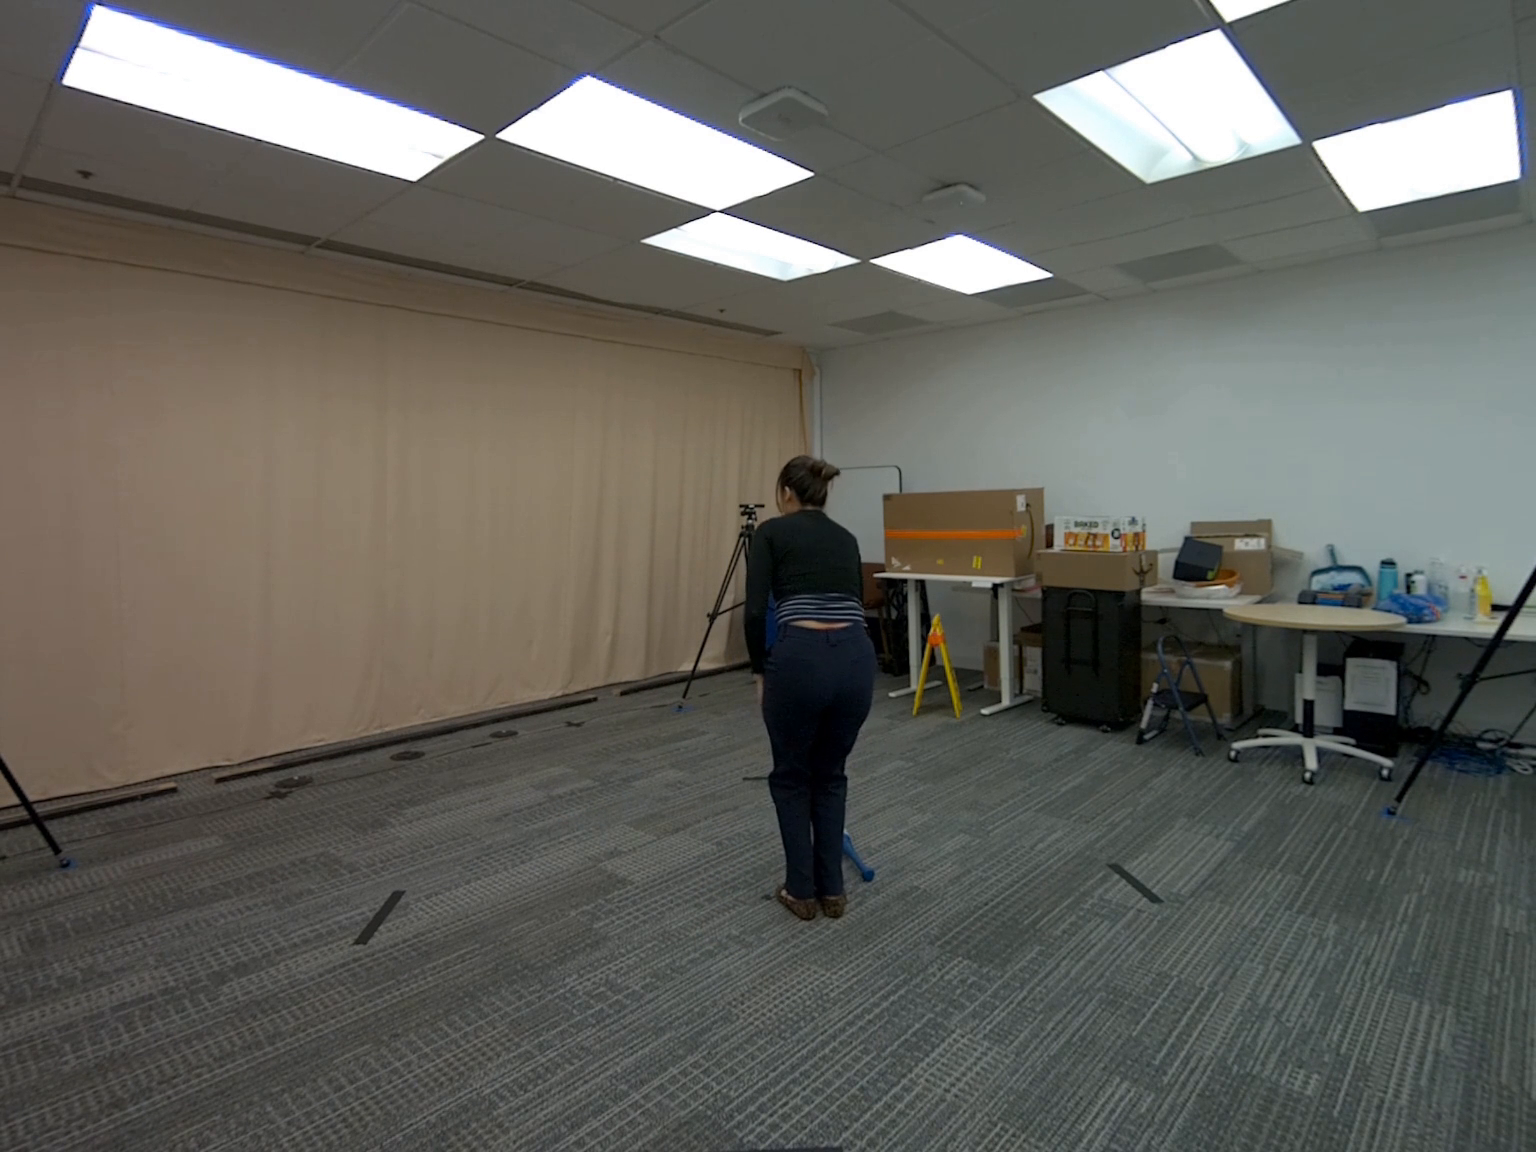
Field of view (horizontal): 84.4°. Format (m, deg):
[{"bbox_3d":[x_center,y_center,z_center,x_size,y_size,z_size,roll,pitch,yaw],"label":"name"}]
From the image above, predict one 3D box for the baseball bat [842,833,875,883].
[{"bbox_3d":[0.305,1.065,3.348,0.088,0.088,0.553,-2,9,-14],"label":"baseball bat"}]
